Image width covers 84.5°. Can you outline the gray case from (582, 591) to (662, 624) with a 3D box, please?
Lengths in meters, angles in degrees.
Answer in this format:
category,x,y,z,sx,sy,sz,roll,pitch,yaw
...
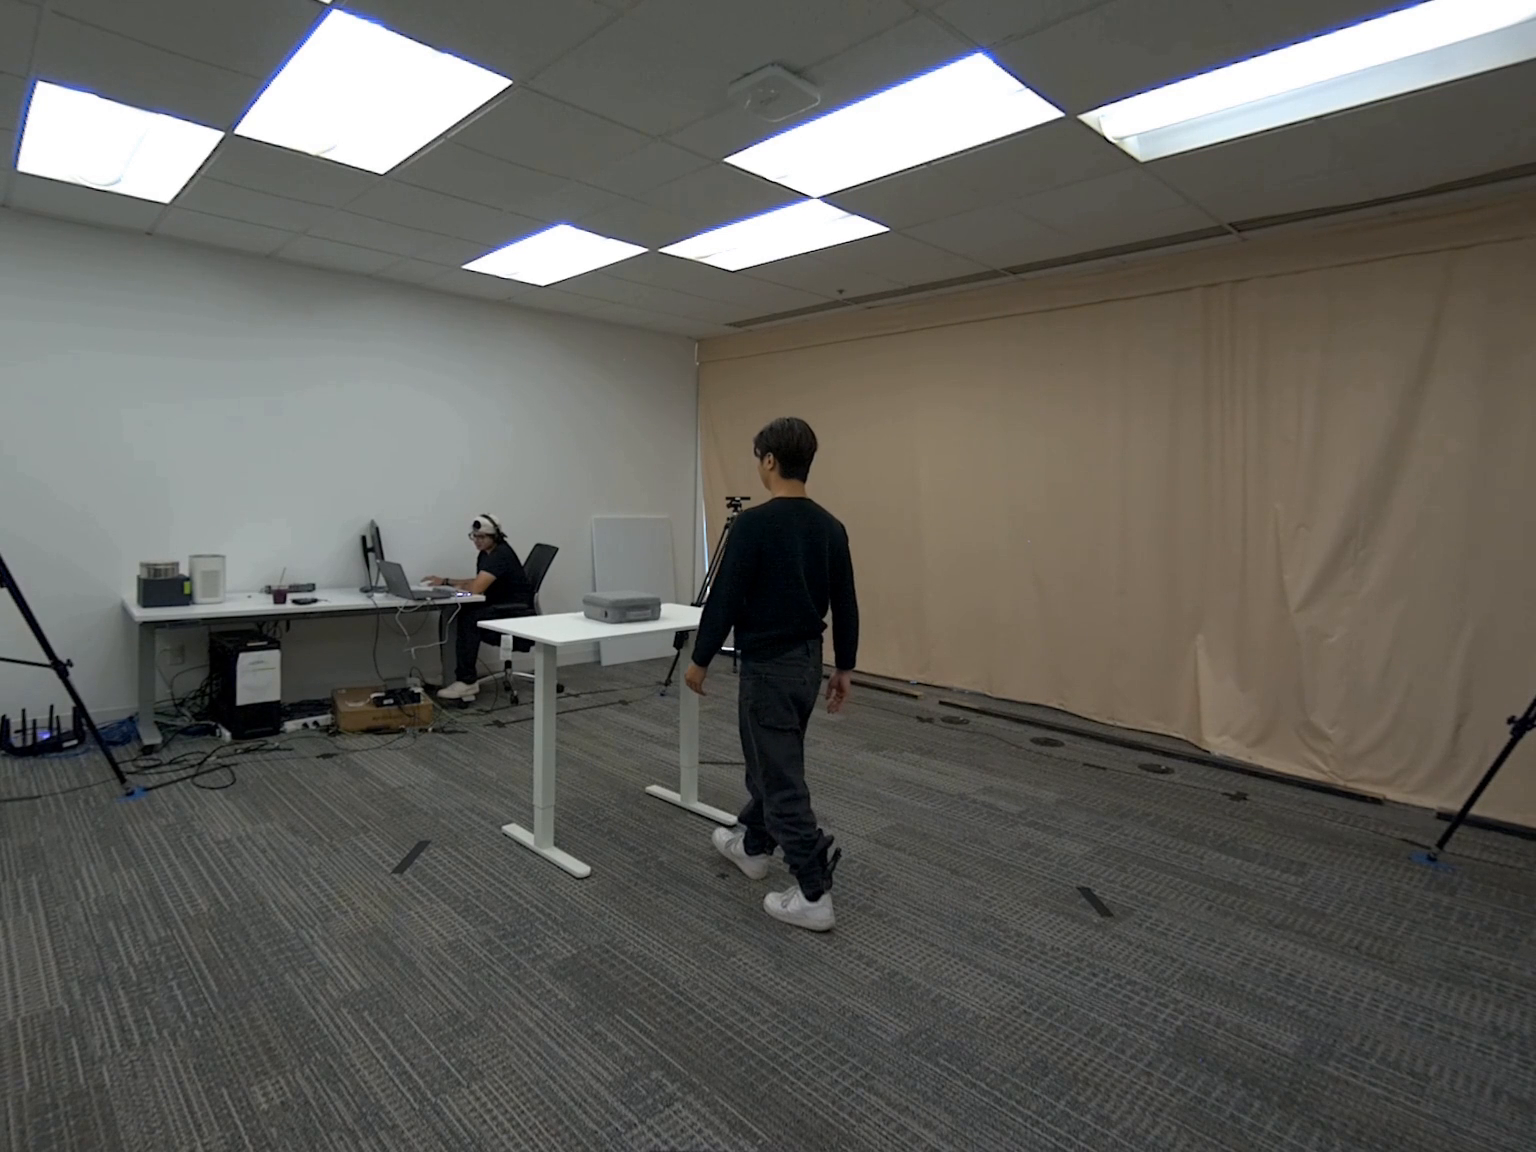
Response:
category,x,y,z,sx,sy,sz,roll,pitch,yaw
gray case,-0.615,0.126,3.511,0.251,0.104,0.267,-3,7,-41
